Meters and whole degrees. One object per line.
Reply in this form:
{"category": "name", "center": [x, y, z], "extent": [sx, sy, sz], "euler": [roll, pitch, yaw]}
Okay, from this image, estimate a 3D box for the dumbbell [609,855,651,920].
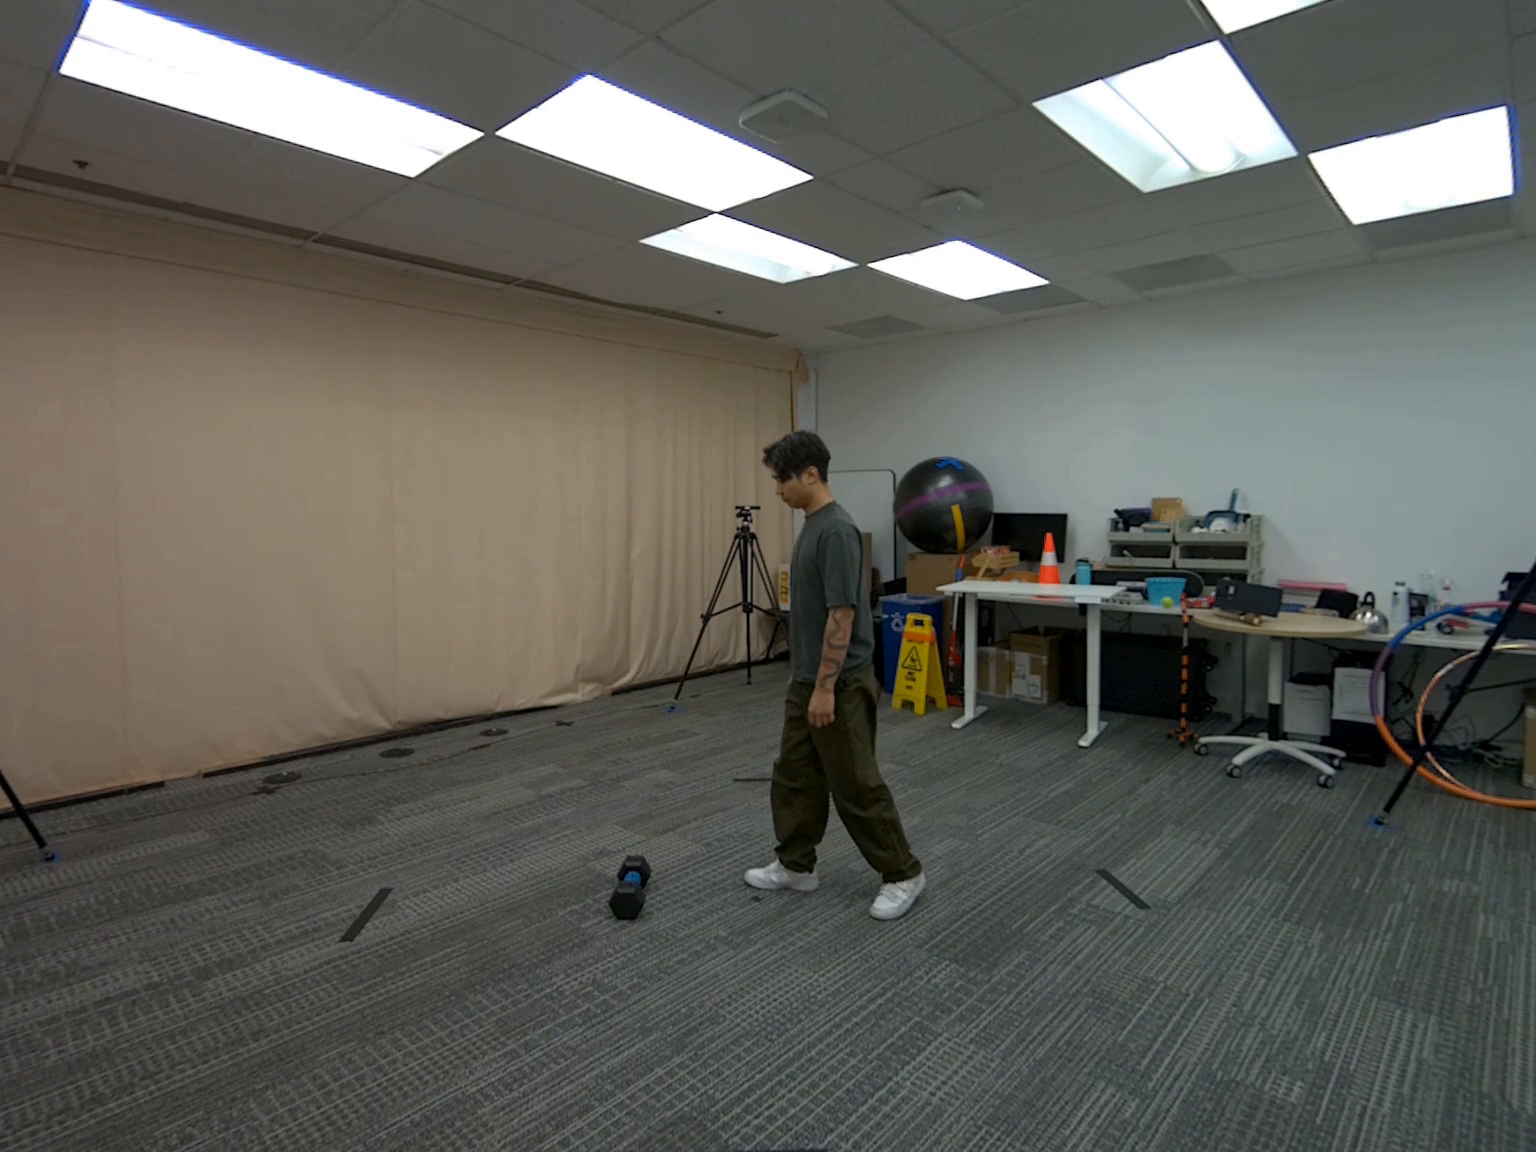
{"category": "dumbbell", "center": [-0.480, 1.100, 2.973], "extent": [0.108, 0.123, 0.294], "euler": [31, 3, -4]}
